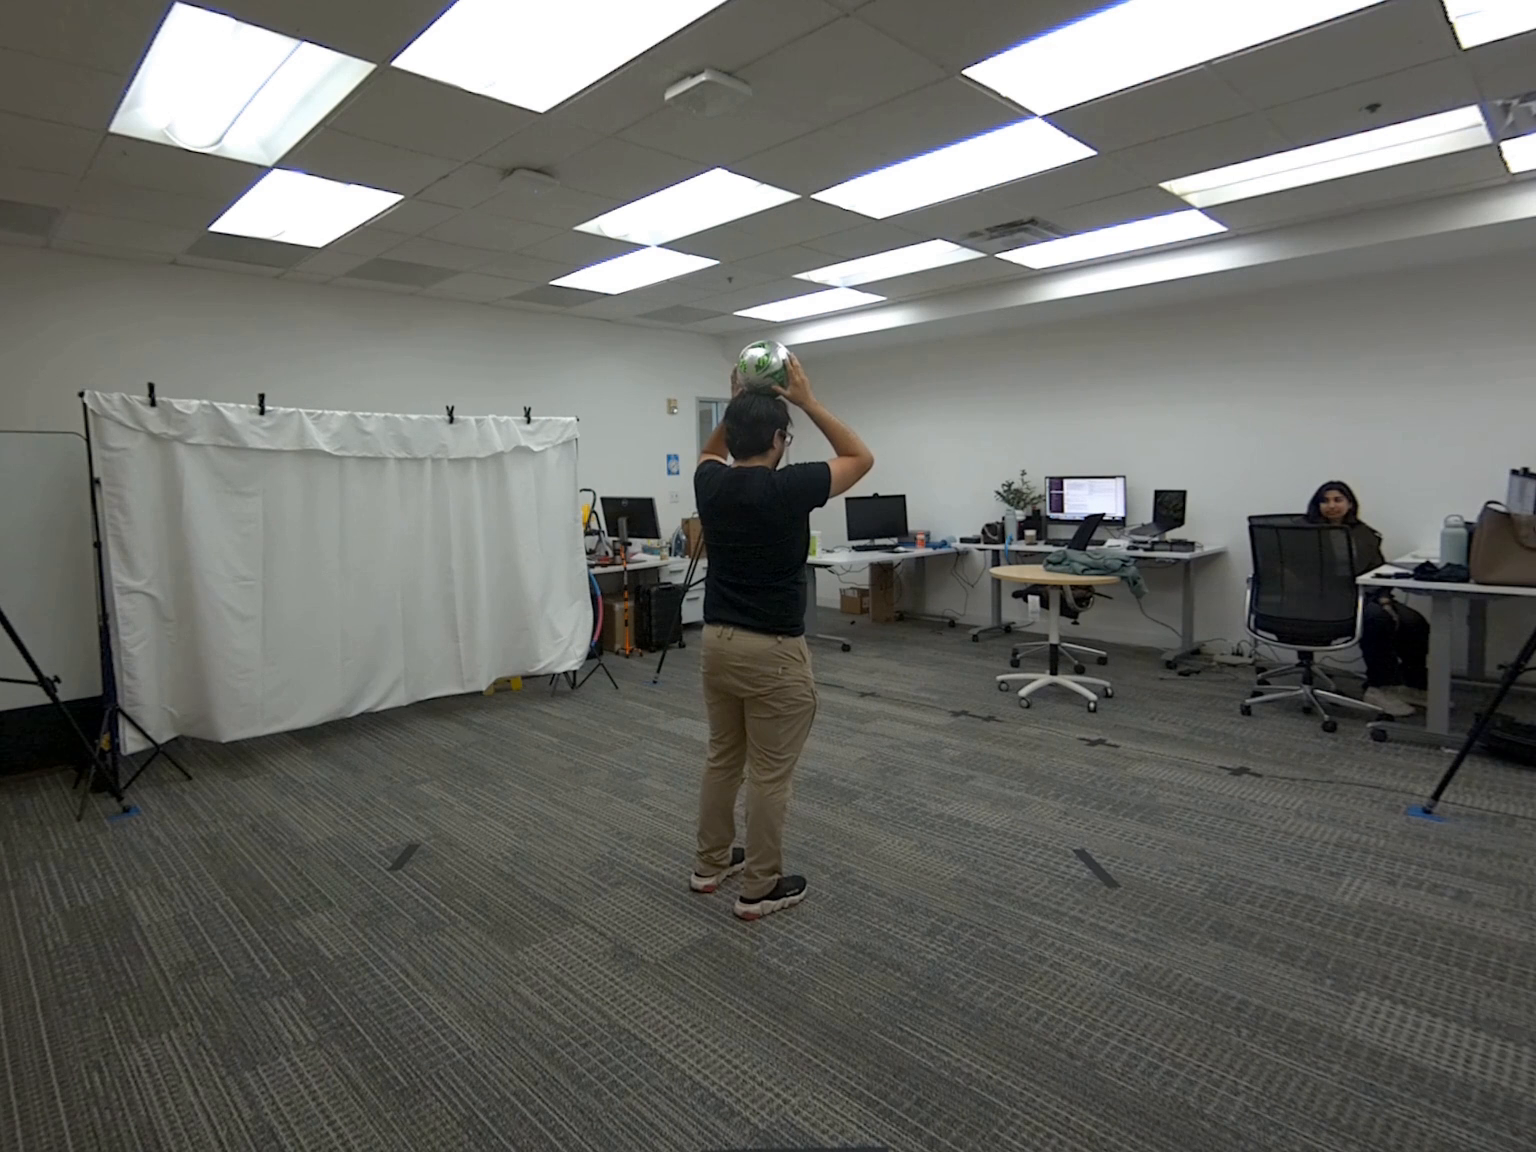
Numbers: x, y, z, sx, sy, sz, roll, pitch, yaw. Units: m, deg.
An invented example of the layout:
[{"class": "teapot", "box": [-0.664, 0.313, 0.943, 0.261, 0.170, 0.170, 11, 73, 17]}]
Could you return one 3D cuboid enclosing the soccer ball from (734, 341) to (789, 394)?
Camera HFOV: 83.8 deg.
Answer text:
[{"class": "soccer ball", "box": [-0.004, -0.655, 2.736, 0.187, 0.187, 0.188, -1, 5, -2]}]
